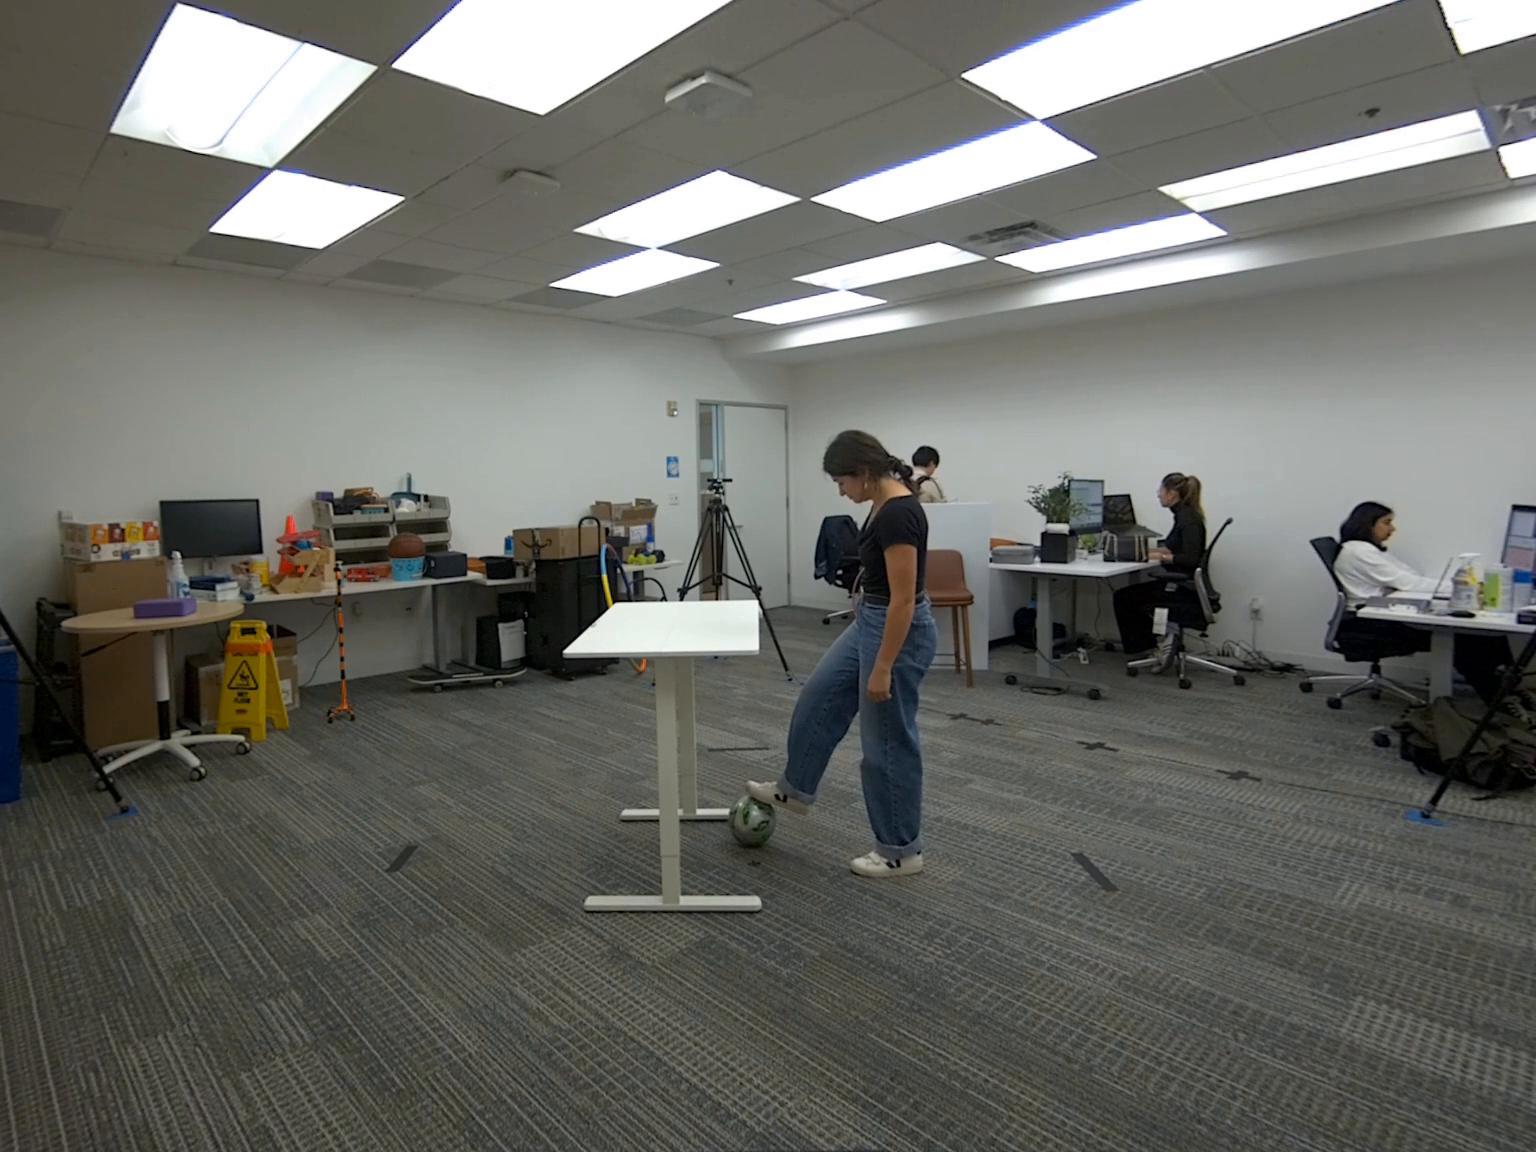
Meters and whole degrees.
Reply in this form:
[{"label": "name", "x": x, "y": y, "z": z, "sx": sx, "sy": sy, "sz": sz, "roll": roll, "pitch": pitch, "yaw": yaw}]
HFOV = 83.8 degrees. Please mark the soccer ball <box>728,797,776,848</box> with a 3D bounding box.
[{"label": "soccer ball", "x": -0.056, "y": 0.937, "z": 3.284, "sx": 0.187, "sy": 0.187, "sz": 0.188, "roll": -1, "pitch": 5, "yaw": -2}]
